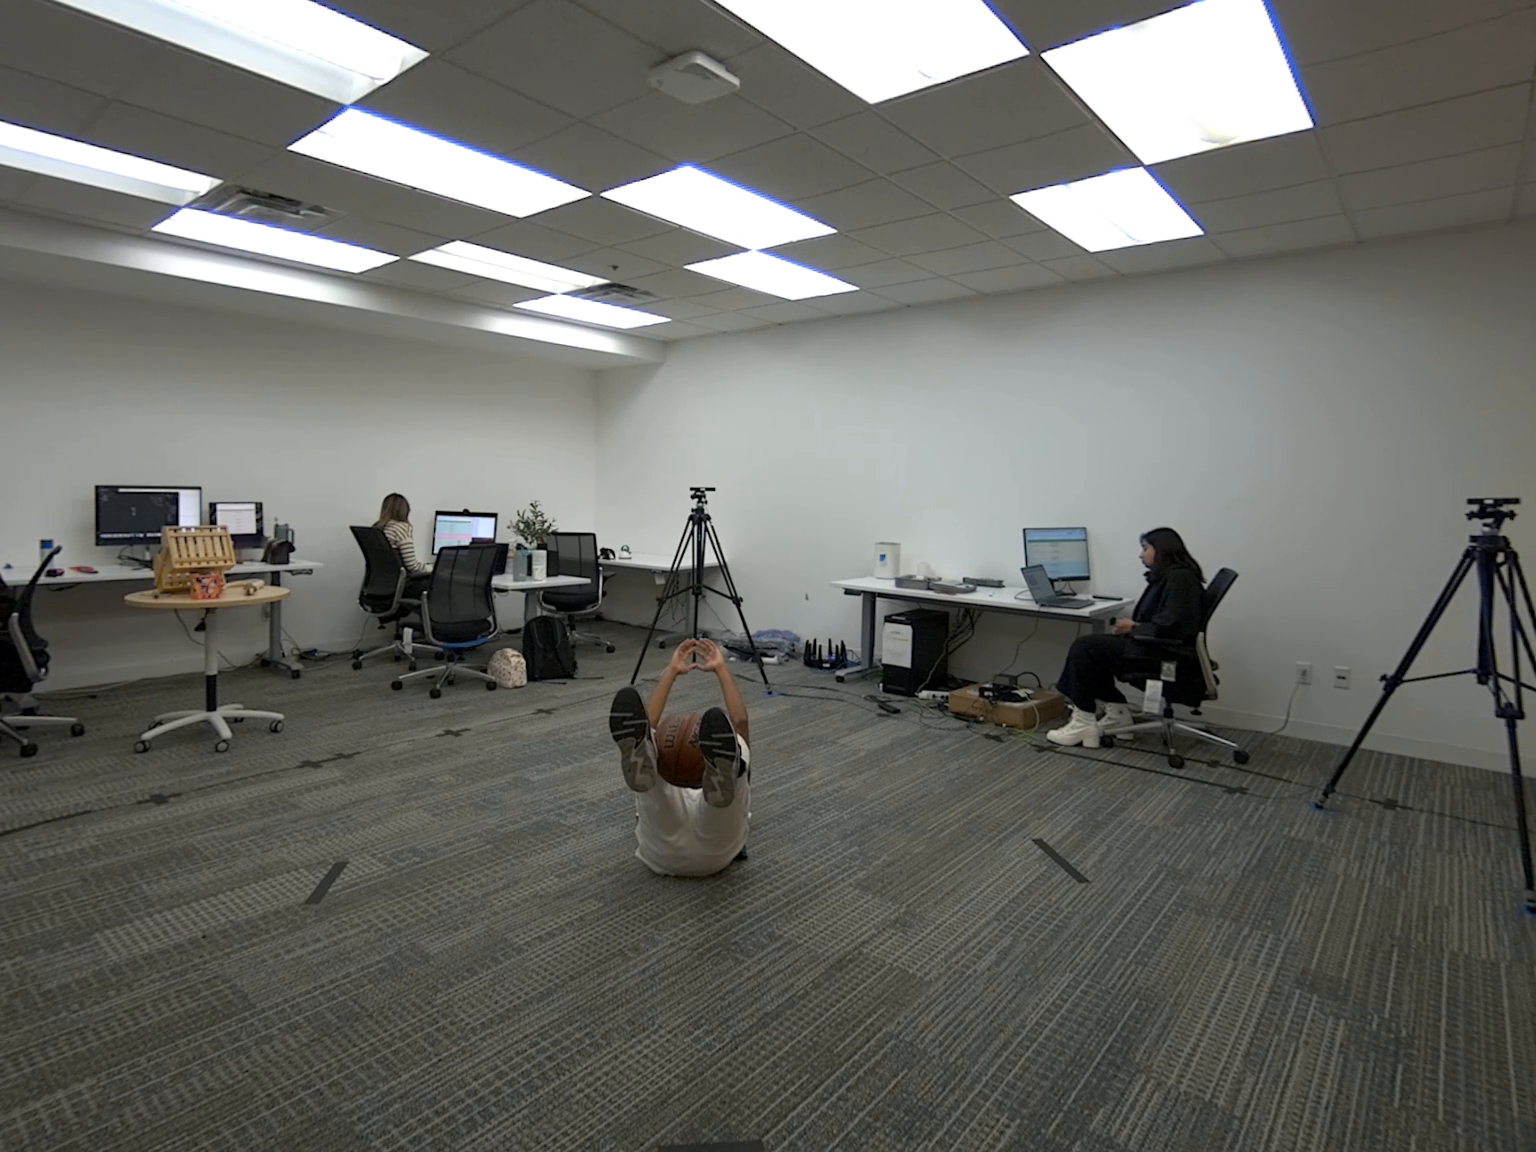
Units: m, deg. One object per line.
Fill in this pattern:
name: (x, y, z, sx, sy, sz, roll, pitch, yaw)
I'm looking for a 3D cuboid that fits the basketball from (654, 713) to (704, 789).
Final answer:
basketball: (-0.269, 0.558, 2.748, 0.235, 0.235, 0.237, 1, 4, -2)
